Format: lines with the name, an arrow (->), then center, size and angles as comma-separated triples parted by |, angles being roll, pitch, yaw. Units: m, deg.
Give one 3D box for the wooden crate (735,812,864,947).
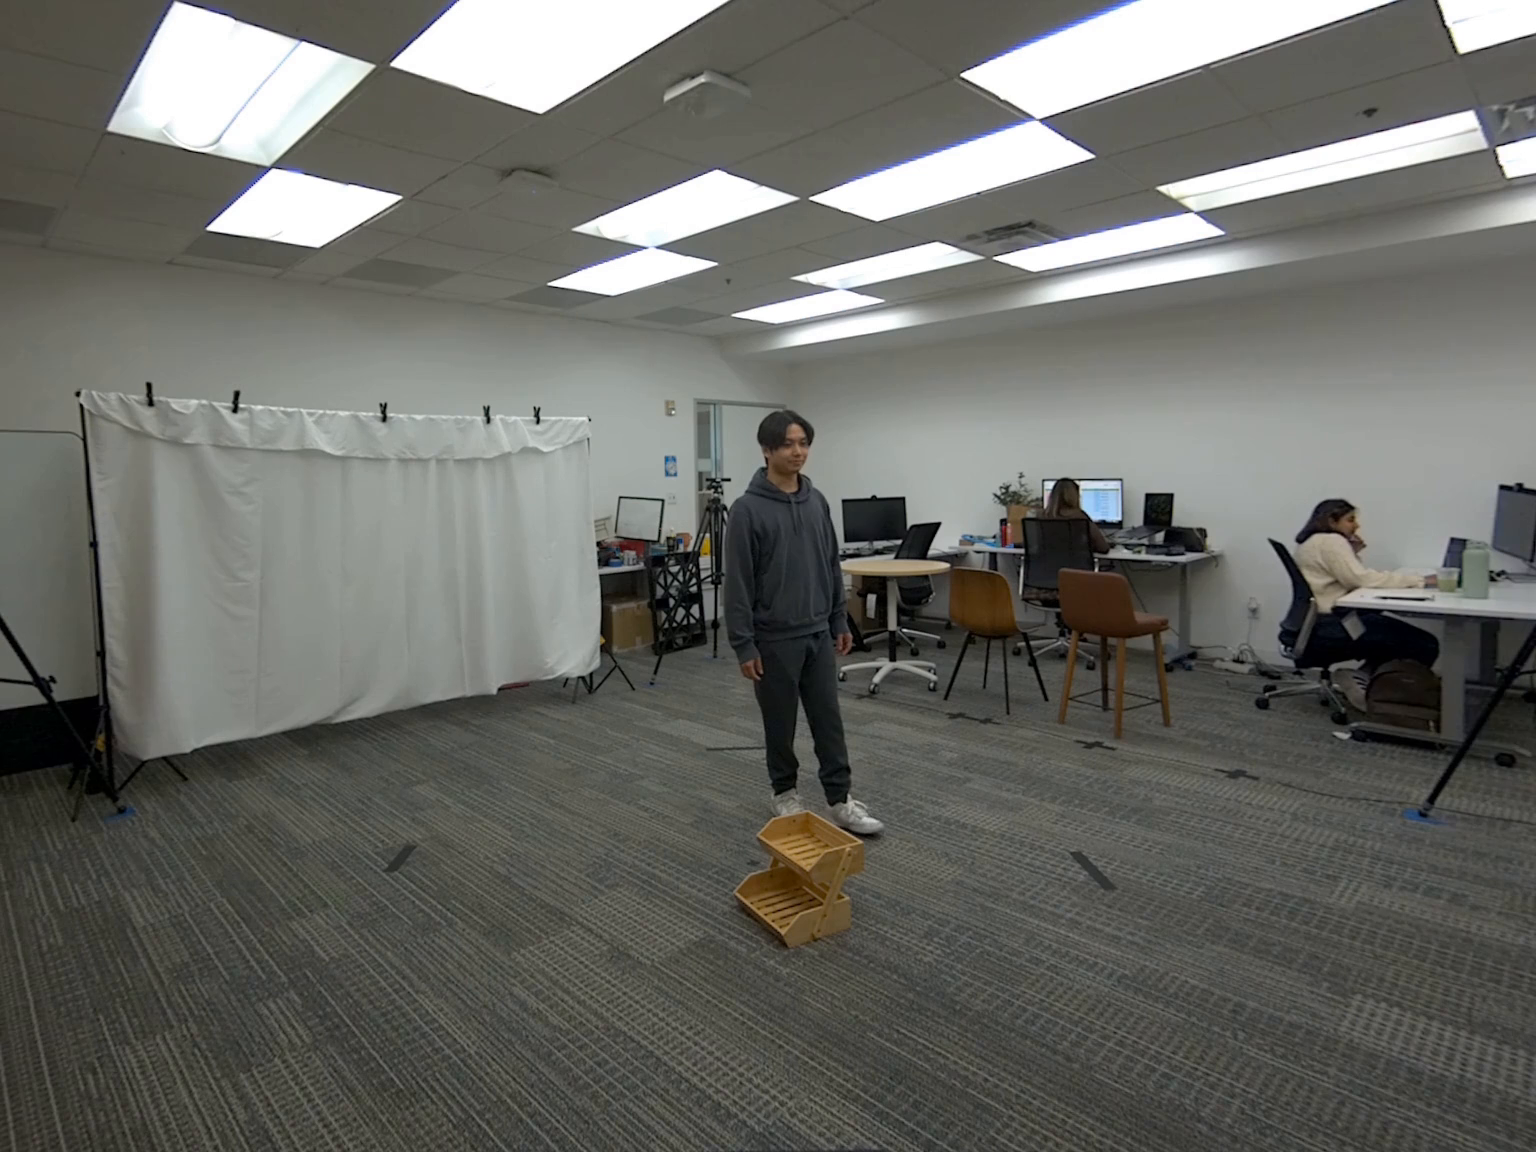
wooden crate -> 0.091, 0.953, 2.726 | 0.295, 0.272, 0.334 | -4, 6, -31
